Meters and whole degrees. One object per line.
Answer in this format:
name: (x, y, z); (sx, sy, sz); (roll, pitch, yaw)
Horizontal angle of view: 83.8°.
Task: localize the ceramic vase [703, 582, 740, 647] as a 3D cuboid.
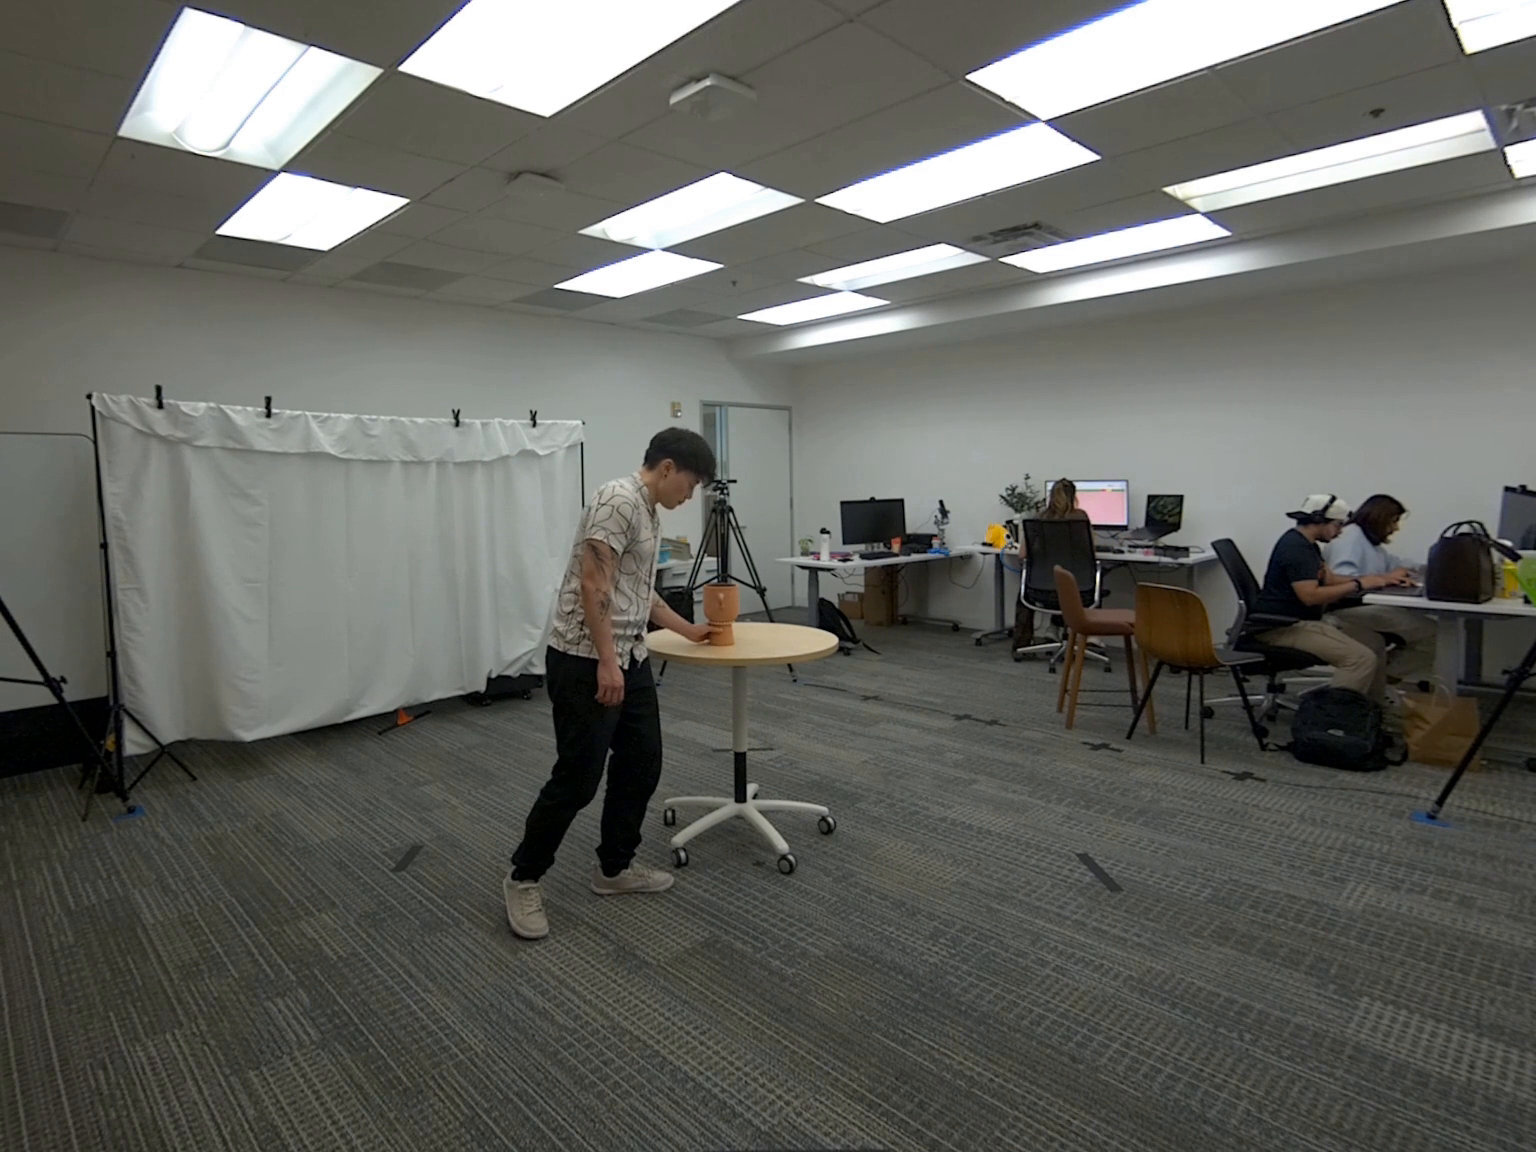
ceramic vase: (-0.176, 0.142, 3.202); (0.138, 0.219, 0.155); (0, 3, 35)
